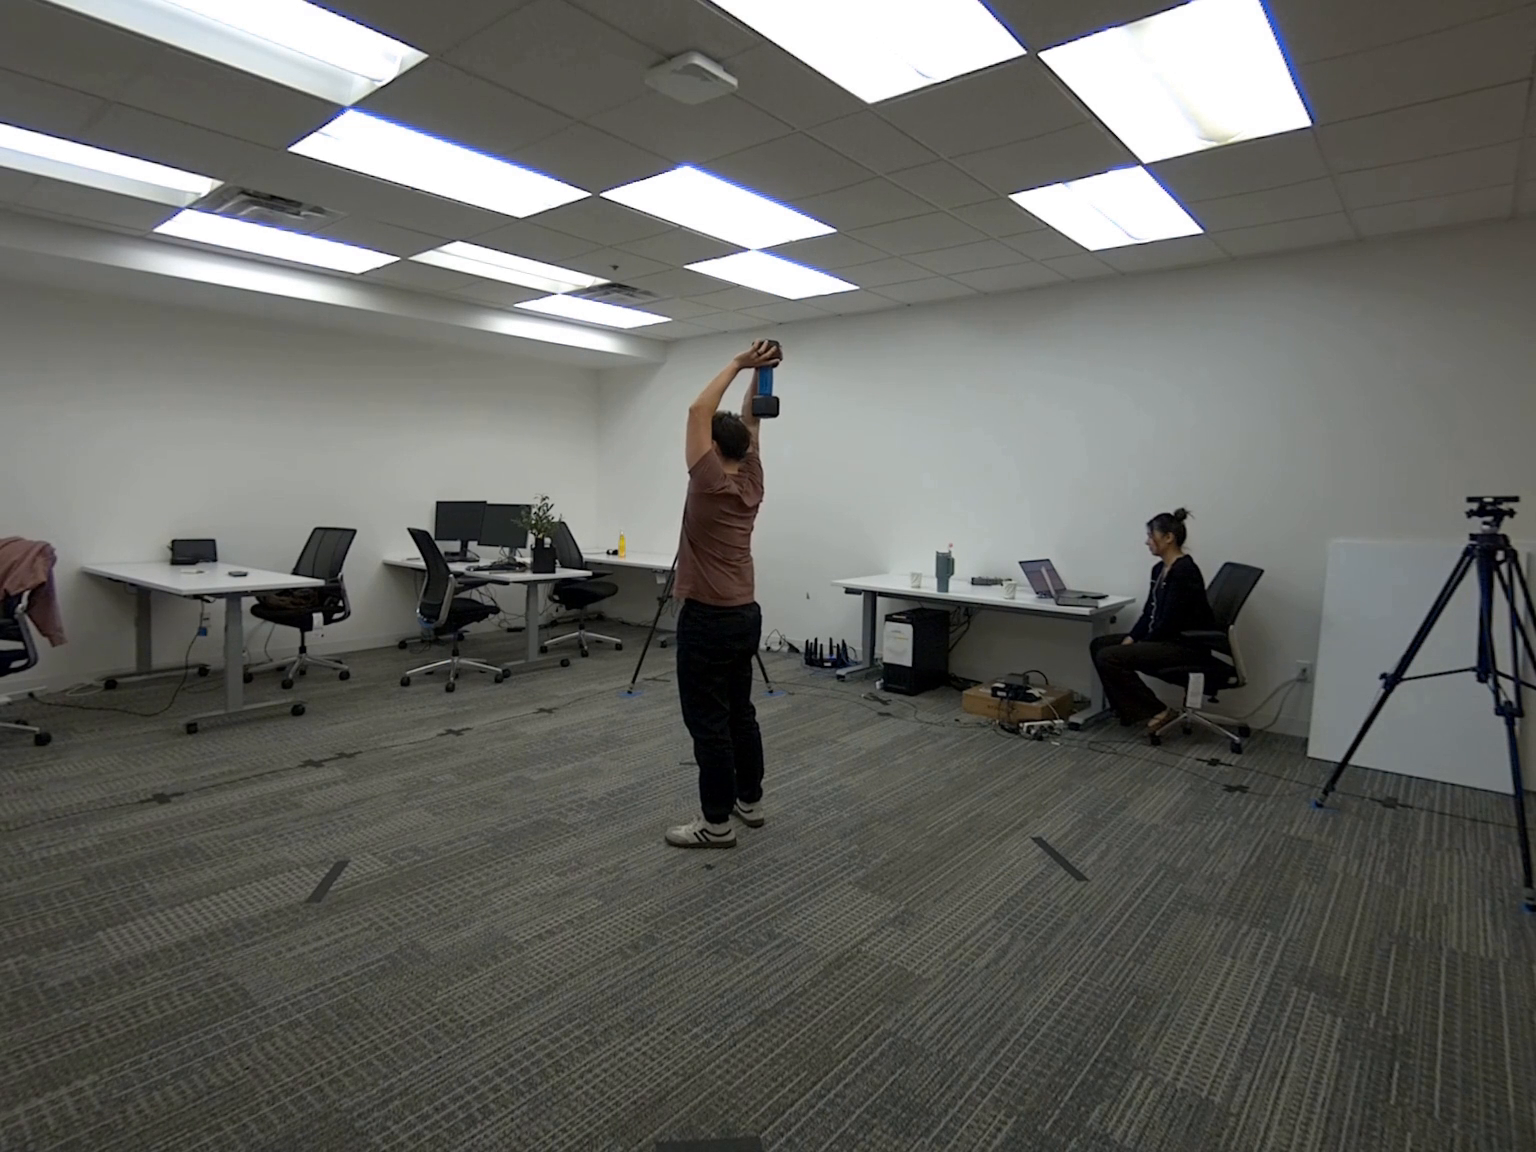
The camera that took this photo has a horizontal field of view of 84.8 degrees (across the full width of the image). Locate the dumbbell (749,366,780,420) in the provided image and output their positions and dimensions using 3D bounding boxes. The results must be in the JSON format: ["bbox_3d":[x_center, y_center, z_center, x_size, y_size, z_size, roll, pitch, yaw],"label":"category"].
[{"bbox_3d":[-0.020,-0.757,3.294,0.126,0.294,0.105,-1,-1,32],"label":"dumbbell"}]
